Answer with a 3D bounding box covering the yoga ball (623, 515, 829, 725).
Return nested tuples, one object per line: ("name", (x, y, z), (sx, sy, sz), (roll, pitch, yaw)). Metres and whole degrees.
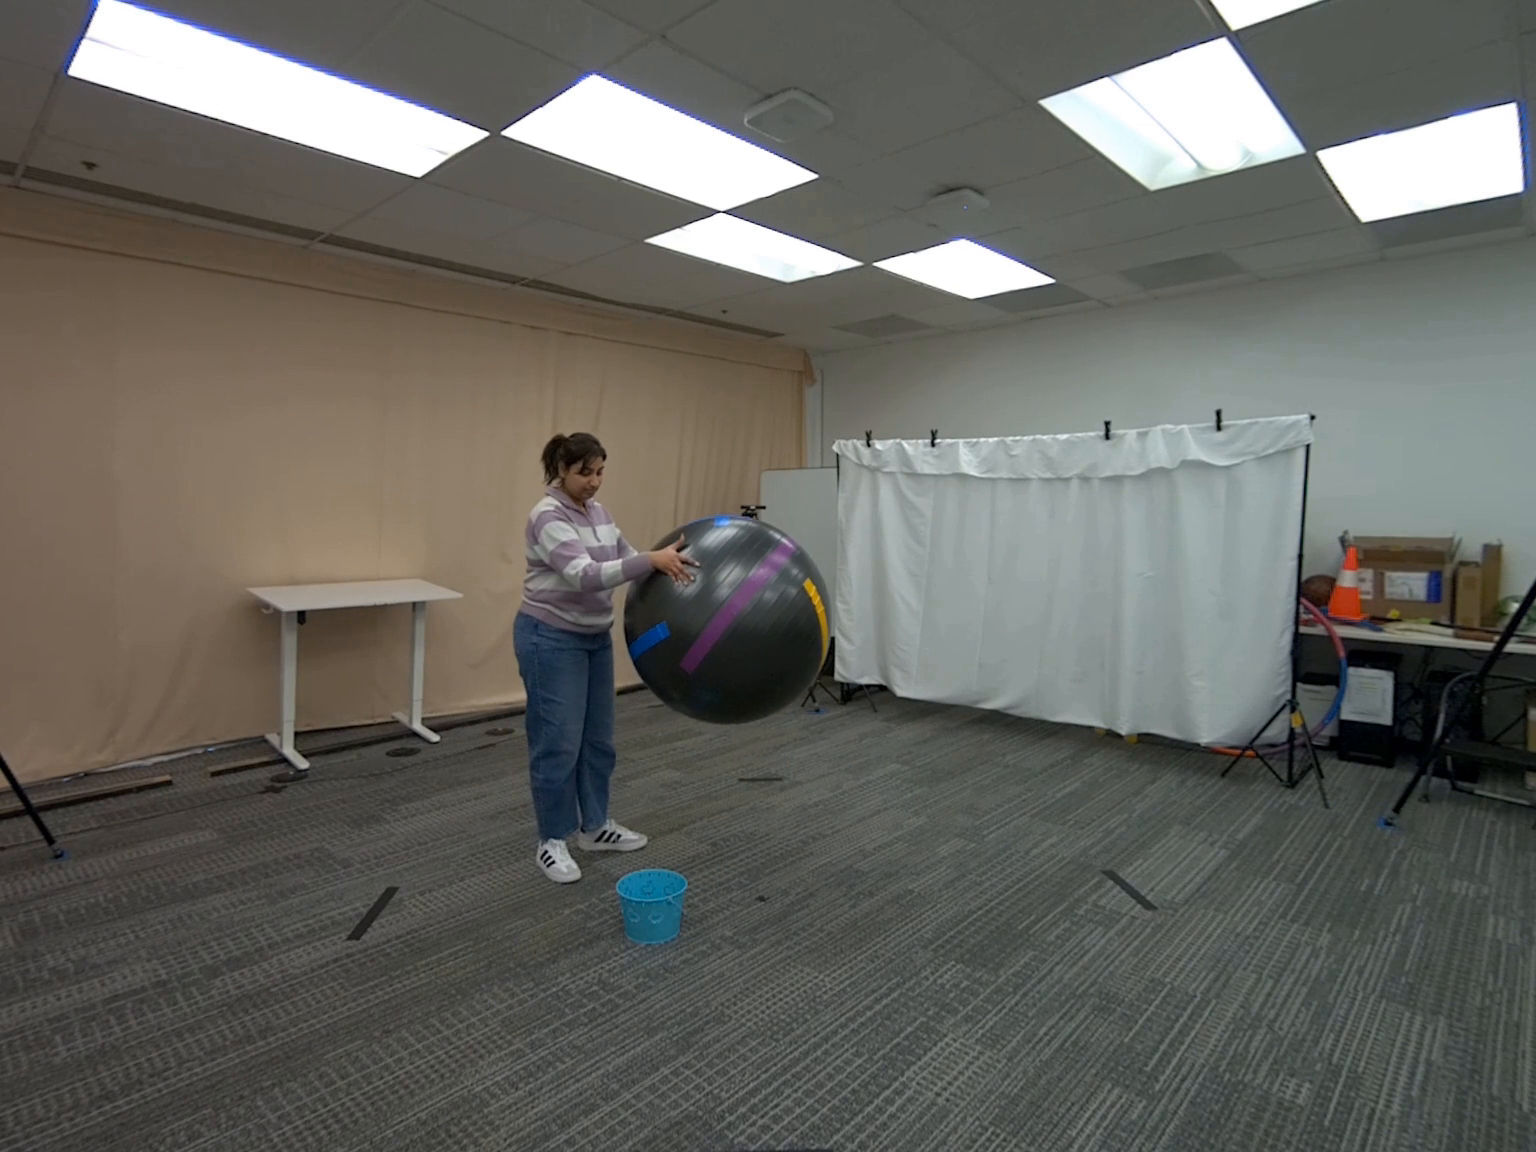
("yoga ball", (-0.148, 0.170, 3.087), (0.757, 0.756, 0.760), (0, 4, -2))
